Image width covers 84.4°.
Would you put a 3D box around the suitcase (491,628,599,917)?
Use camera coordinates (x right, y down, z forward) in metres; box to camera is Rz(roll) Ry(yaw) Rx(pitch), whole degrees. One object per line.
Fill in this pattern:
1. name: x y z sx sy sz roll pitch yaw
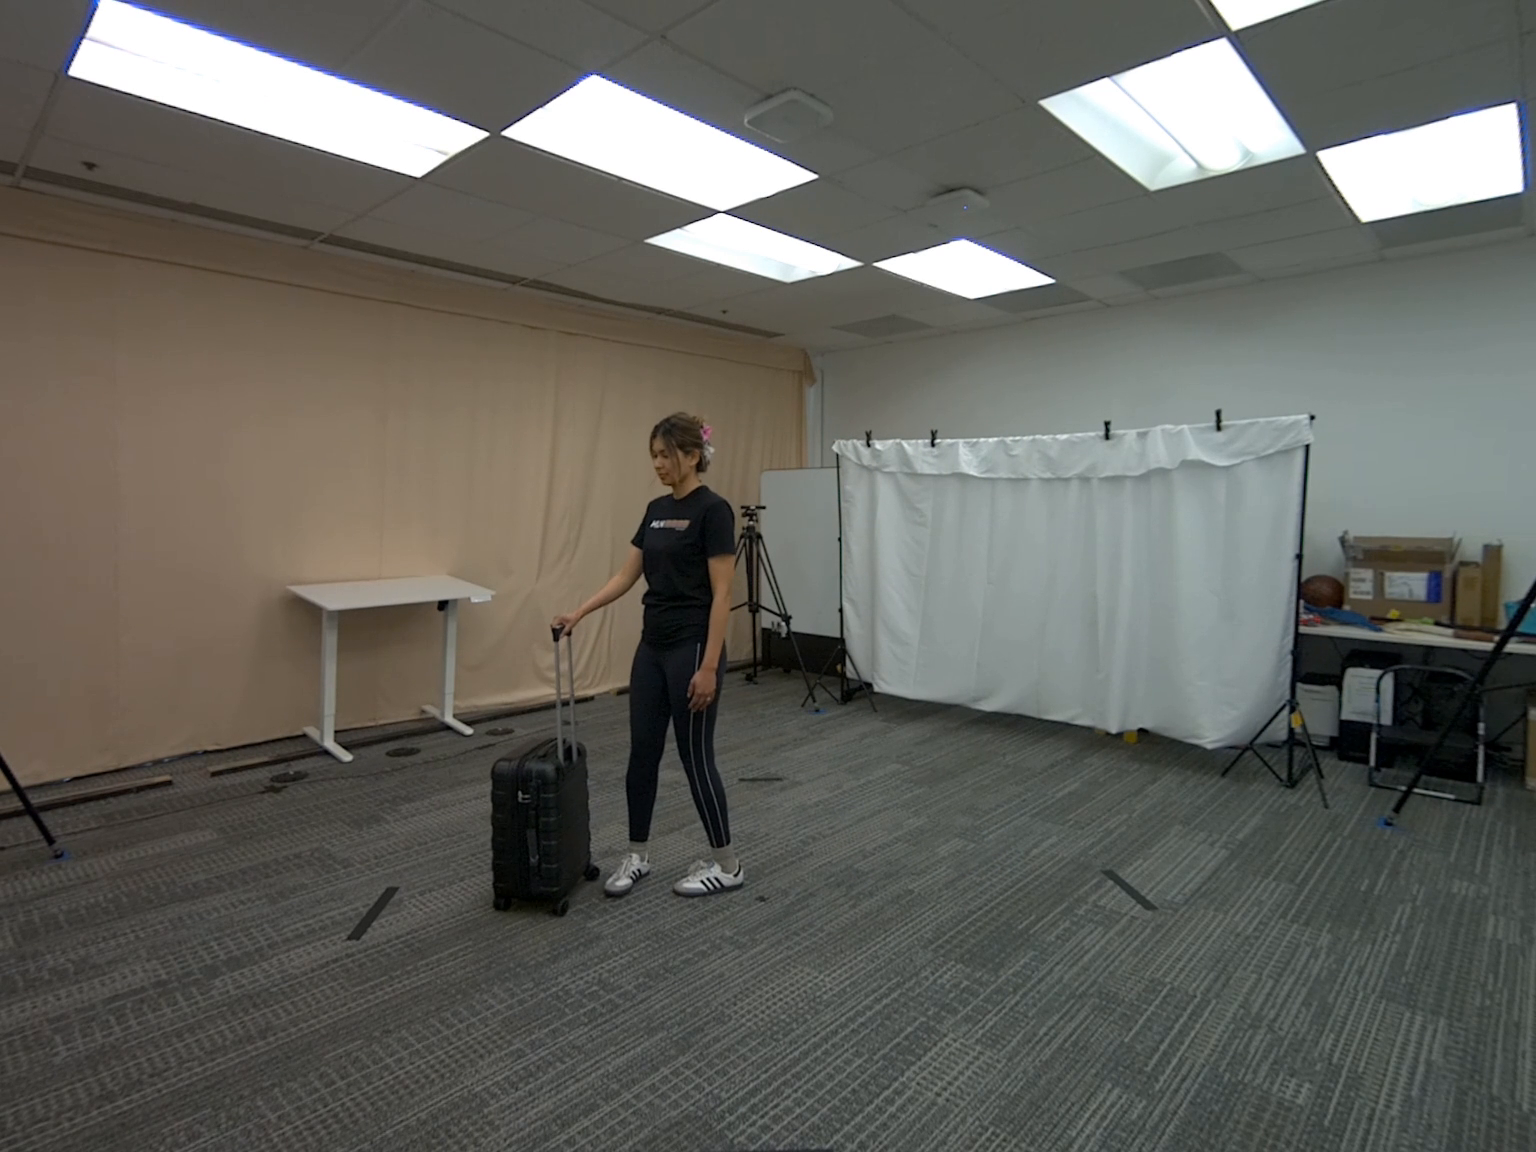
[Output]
1. suitcase: -0.818 0.675 2.997 0.260 0.976 0.380 -2 3 11
